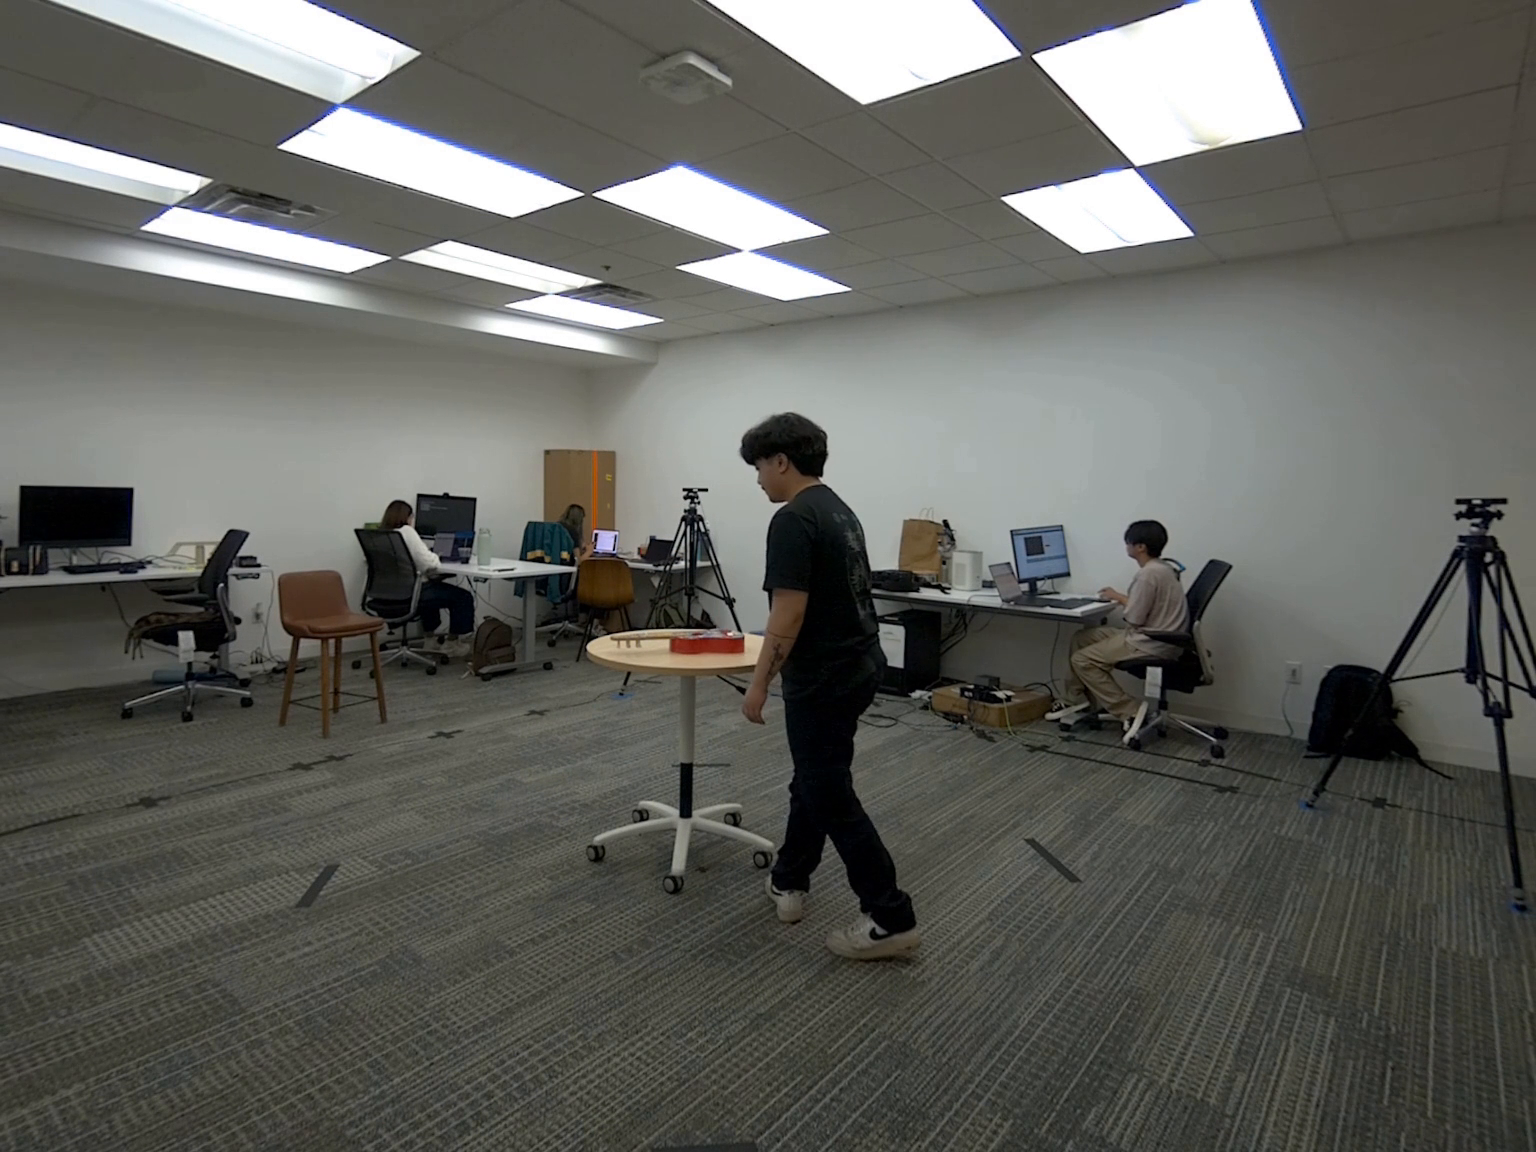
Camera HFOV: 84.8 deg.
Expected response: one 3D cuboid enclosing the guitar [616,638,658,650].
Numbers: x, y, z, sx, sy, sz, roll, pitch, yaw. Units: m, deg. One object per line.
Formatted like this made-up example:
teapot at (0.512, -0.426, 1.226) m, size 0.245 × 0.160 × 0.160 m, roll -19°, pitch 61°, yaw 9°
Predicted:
guitar at (-0.323, 0.230, 3.155) m, size 0.491 × 0.070 × 0.196 m, roll -1°, pitch 4°, yaw -12°
